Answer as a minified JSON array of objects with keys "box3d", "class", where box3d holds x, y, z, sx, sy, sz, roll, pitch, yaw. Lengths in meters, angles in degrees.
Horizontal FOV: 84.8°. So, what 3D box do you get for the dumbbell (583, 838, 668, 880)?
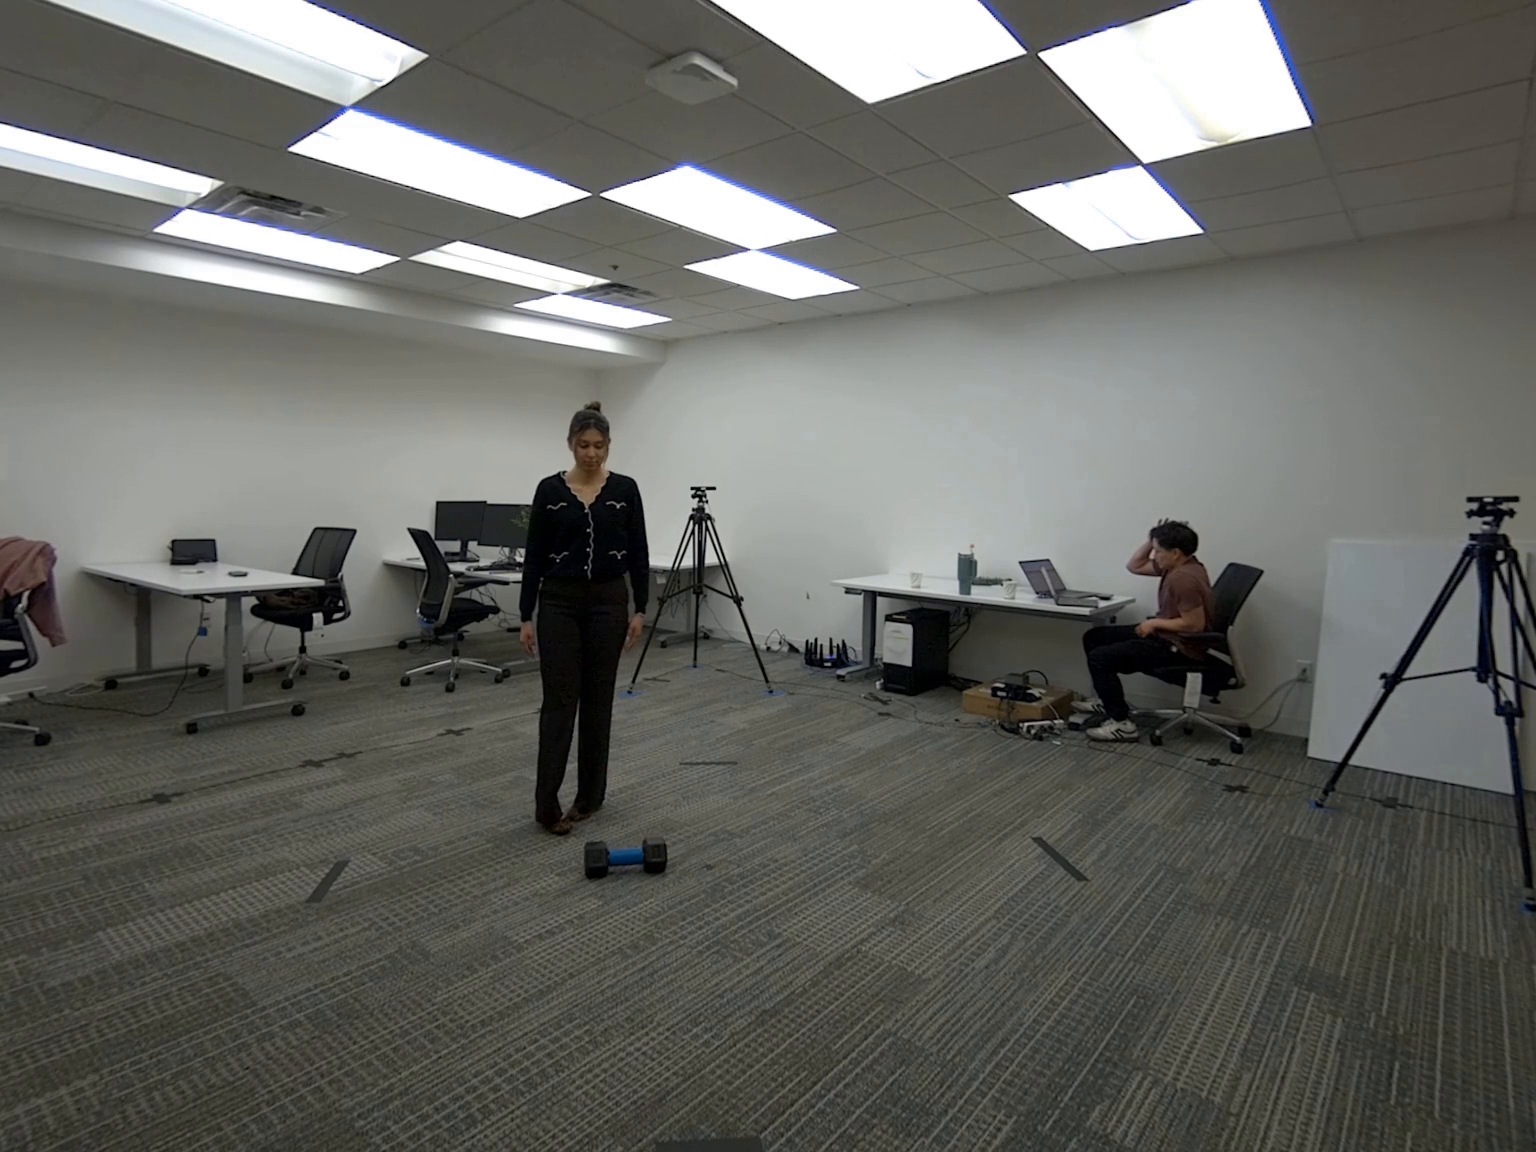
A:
[{"box3d":[-0.524,1.013,3.062,0.289,0.120,0.112,0,35,-13],"class":"dumbbell"}]
